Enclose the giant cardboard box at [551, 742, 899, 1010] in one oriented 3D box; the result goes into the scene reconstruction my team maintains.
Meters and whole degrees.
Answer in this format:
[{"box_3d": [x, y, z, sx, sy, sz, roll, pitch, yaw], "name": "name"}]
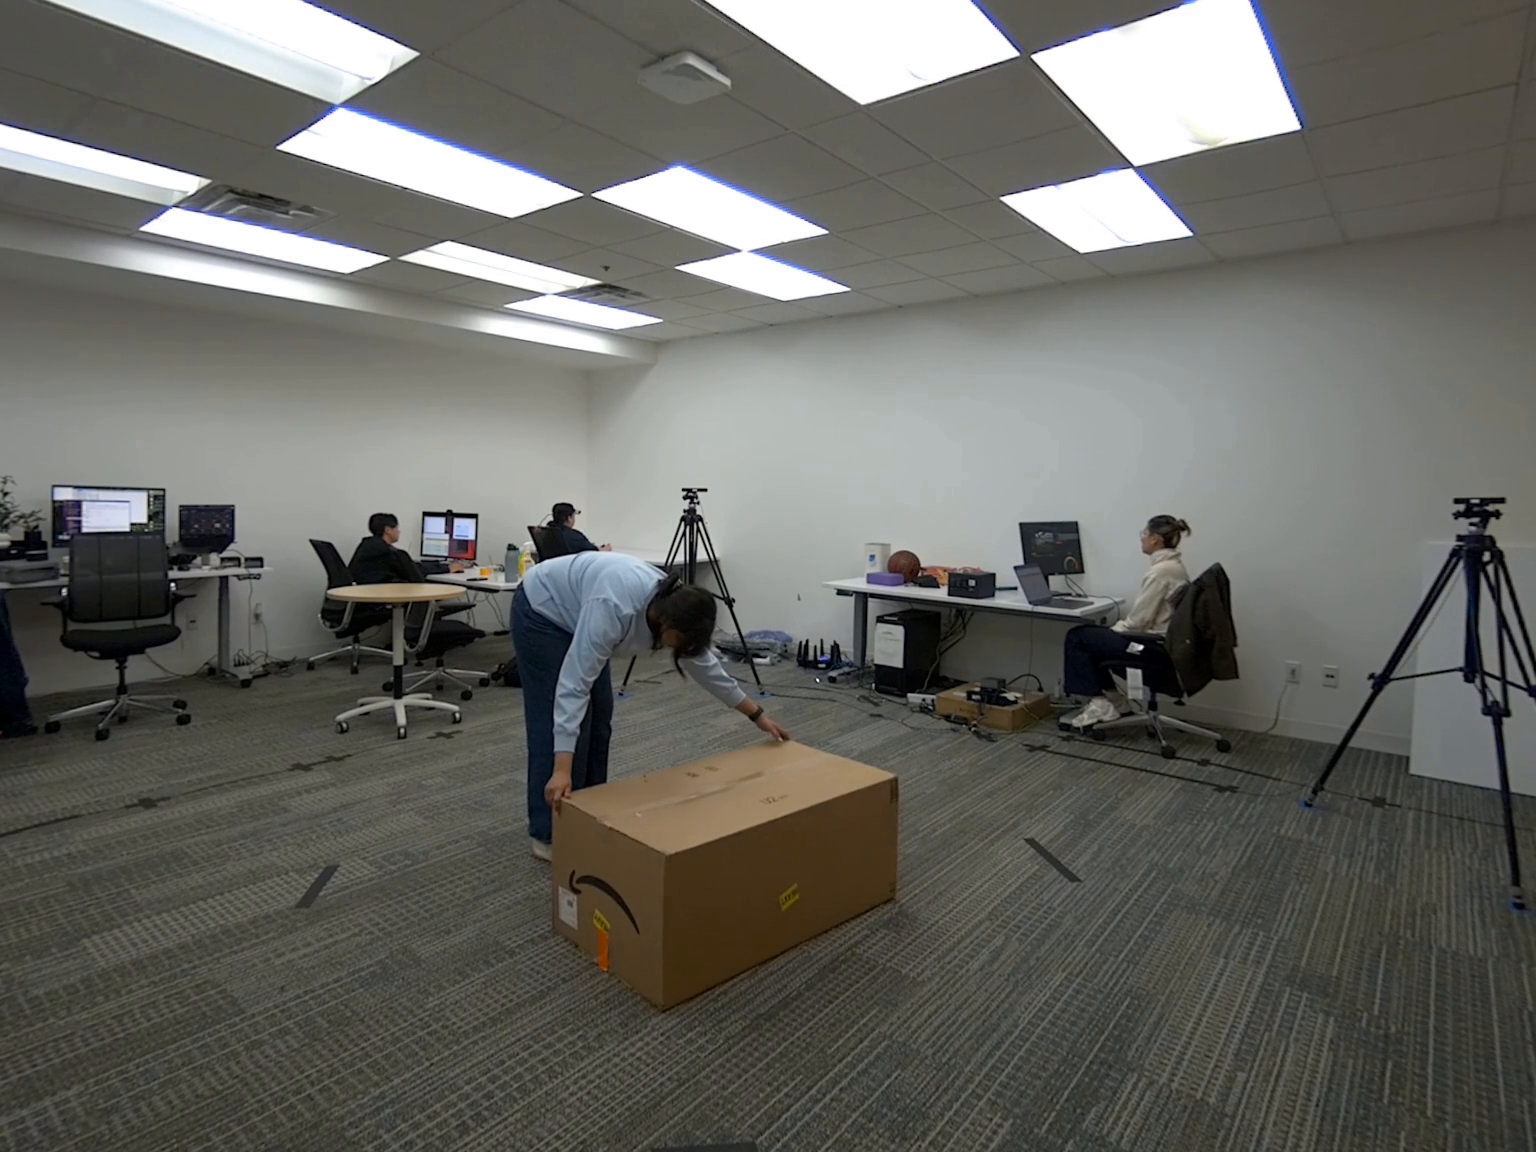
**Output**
[{"box_3d": [-0.122, 0.893, 2.785, 0.995, 0.425, 0.597, -4, 6, -43], "name": "giant cardboard box"}]
